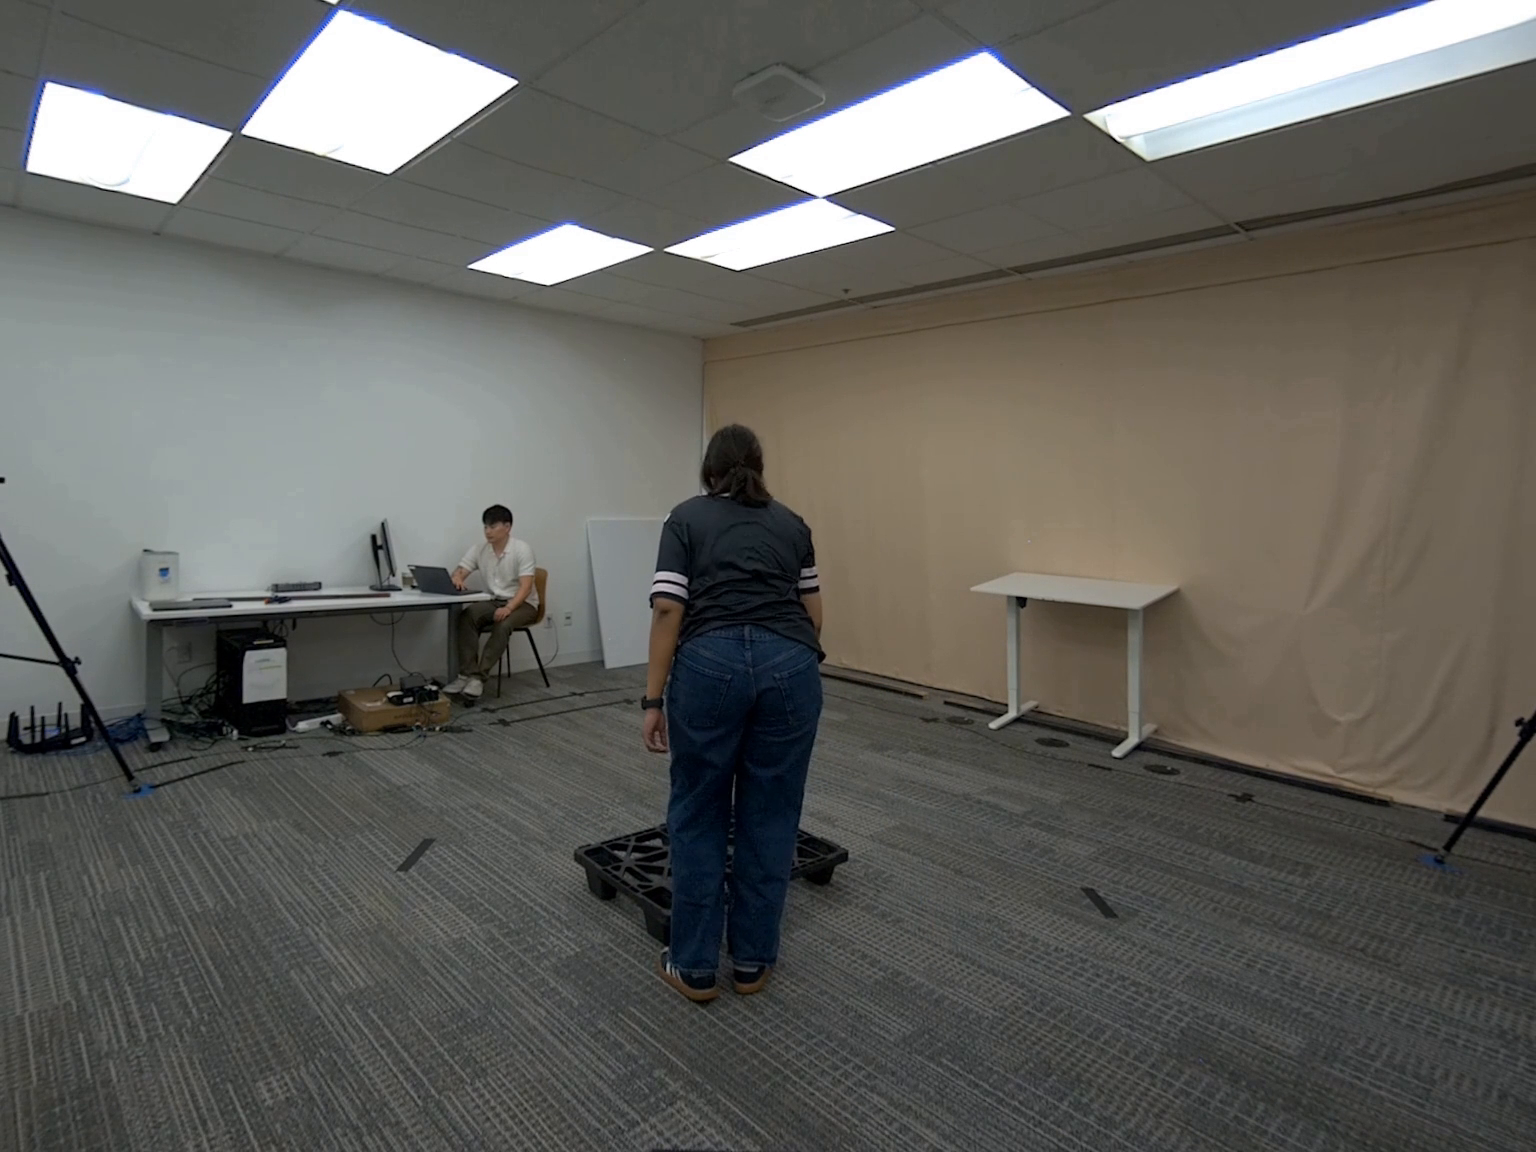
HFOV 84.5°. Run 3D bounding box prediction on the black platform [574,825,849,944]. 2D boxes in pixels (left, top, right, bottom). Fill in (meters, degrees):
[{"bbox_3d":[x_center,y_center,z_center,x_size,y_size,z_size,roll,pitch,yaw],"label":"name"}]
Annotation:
[{"bbox_3d":[-0.211,1.048,3.007,0.787,0.143,0.620,-3,6,-40],"label":"black platform"}]
